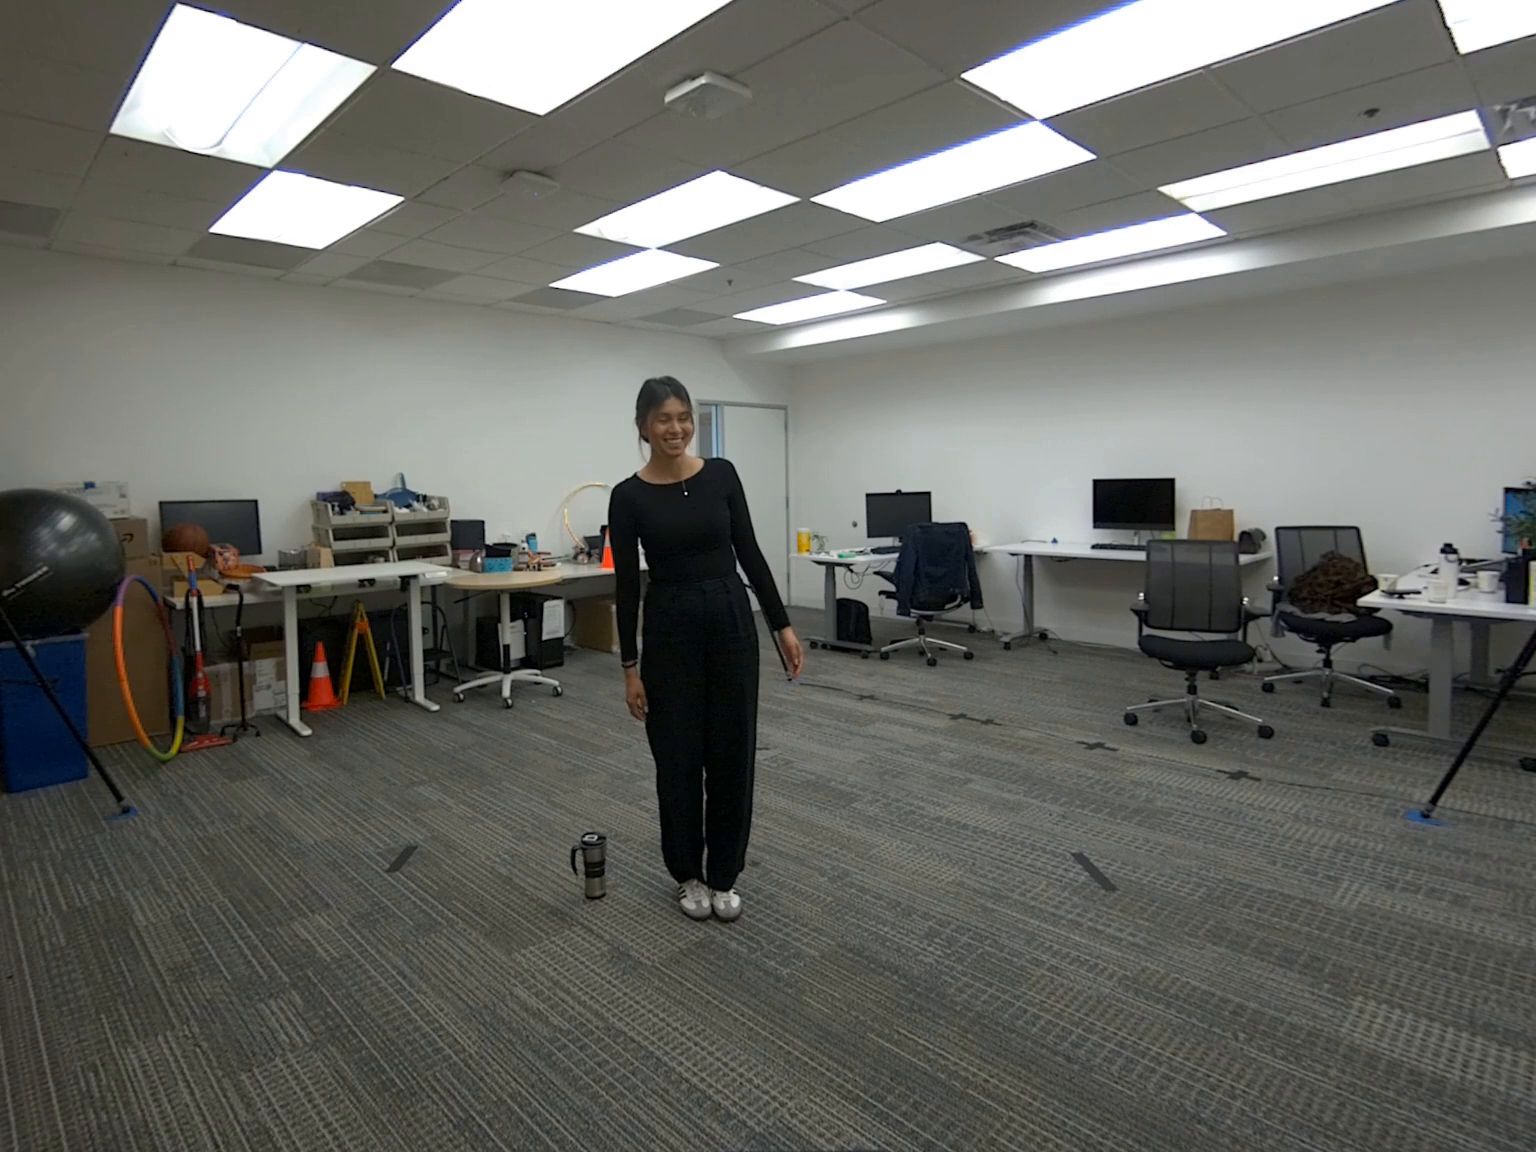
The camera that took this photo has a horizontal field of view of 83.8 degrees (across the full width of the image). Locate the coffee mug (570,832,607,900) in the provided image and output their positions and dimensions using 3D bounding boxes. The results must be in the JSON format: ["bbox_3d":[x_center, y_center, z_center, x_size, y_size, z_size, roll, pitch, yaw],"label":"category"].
[{"bbox_3d":[-0.606,0.988,2.890,0.121,0.202,0.089,2,6,-8],"label":"coffee mug"}]
